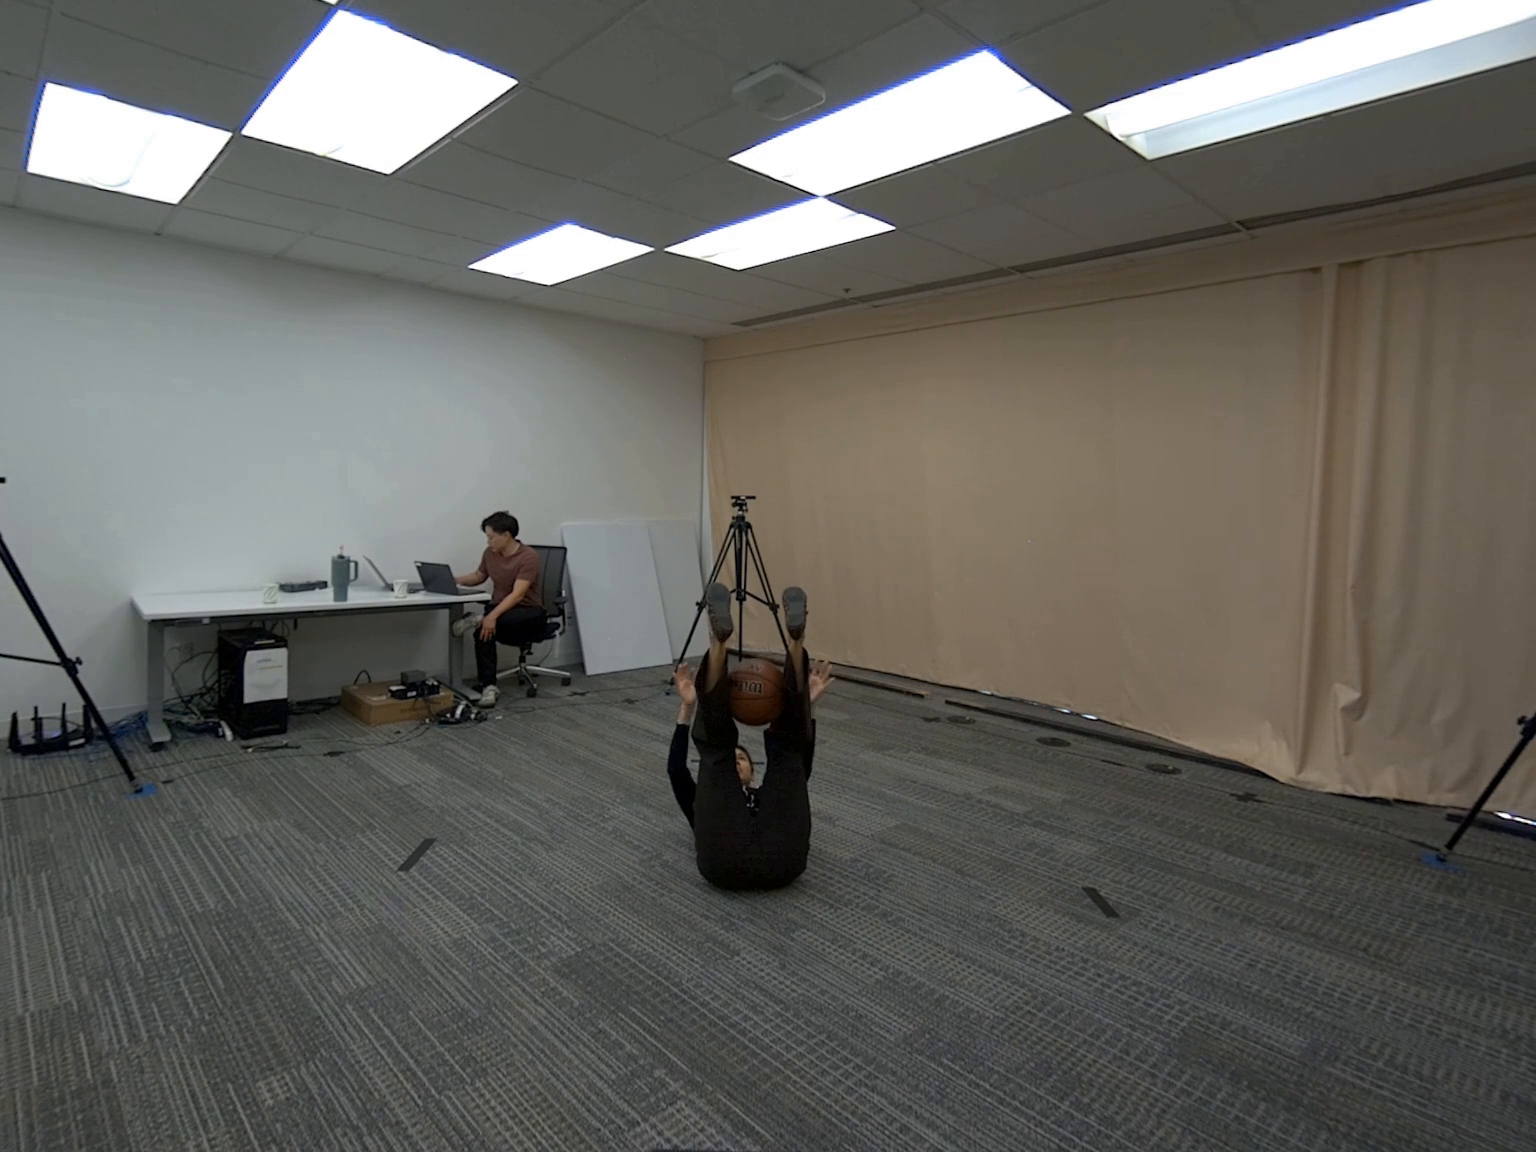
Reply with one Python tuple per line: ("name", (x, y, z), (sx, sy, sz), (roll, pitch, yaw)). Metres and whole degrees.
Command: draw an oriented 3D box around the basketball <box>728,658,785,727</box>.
("basketball", (-0.046, 0.413, 2.978), (0.236, 0.235, 0.237), (1, 4, -1))
